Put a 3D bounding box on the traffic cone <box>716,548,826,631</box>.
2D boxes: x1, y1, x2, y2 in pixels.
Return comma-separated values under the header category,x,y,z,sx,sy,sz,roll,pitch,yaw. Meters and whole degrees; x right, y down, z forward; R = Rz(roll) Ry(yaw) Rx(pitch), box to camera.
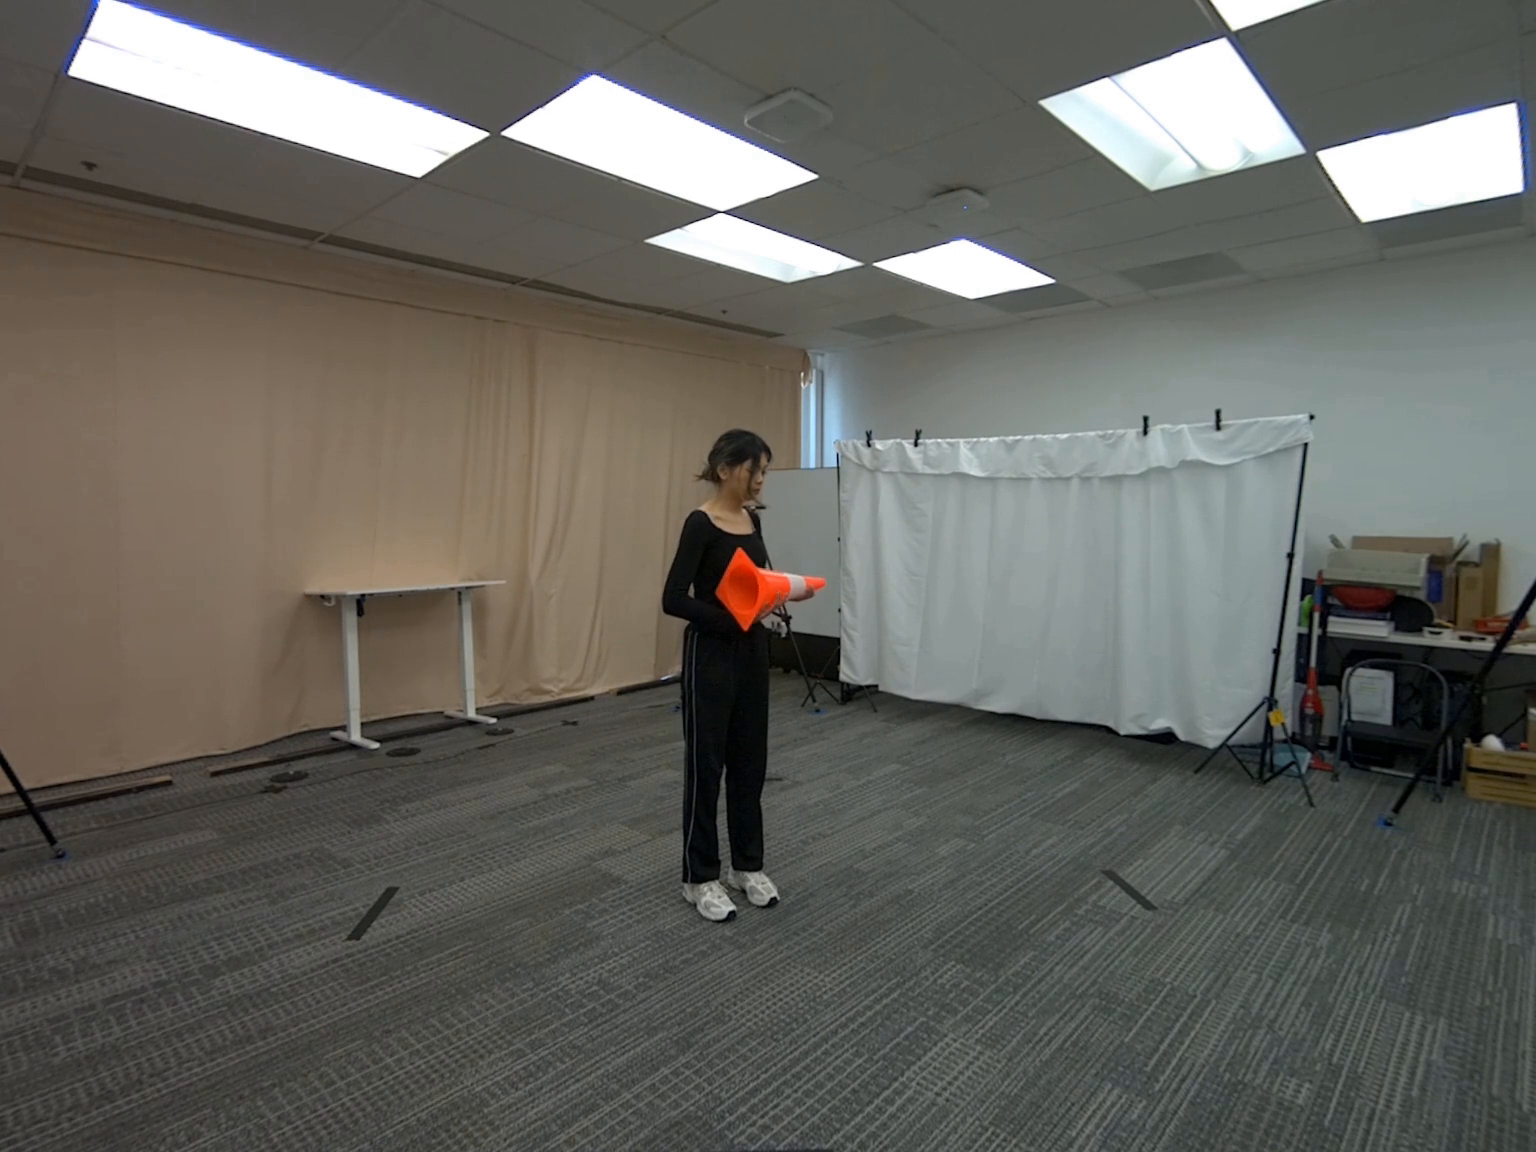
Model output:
category,x,y,z,sx,sy,sz,roll,pitch,yaw
traffic cone,0.055,0.038,2.847,0.372,0.203,0.212,-3,40,-42
